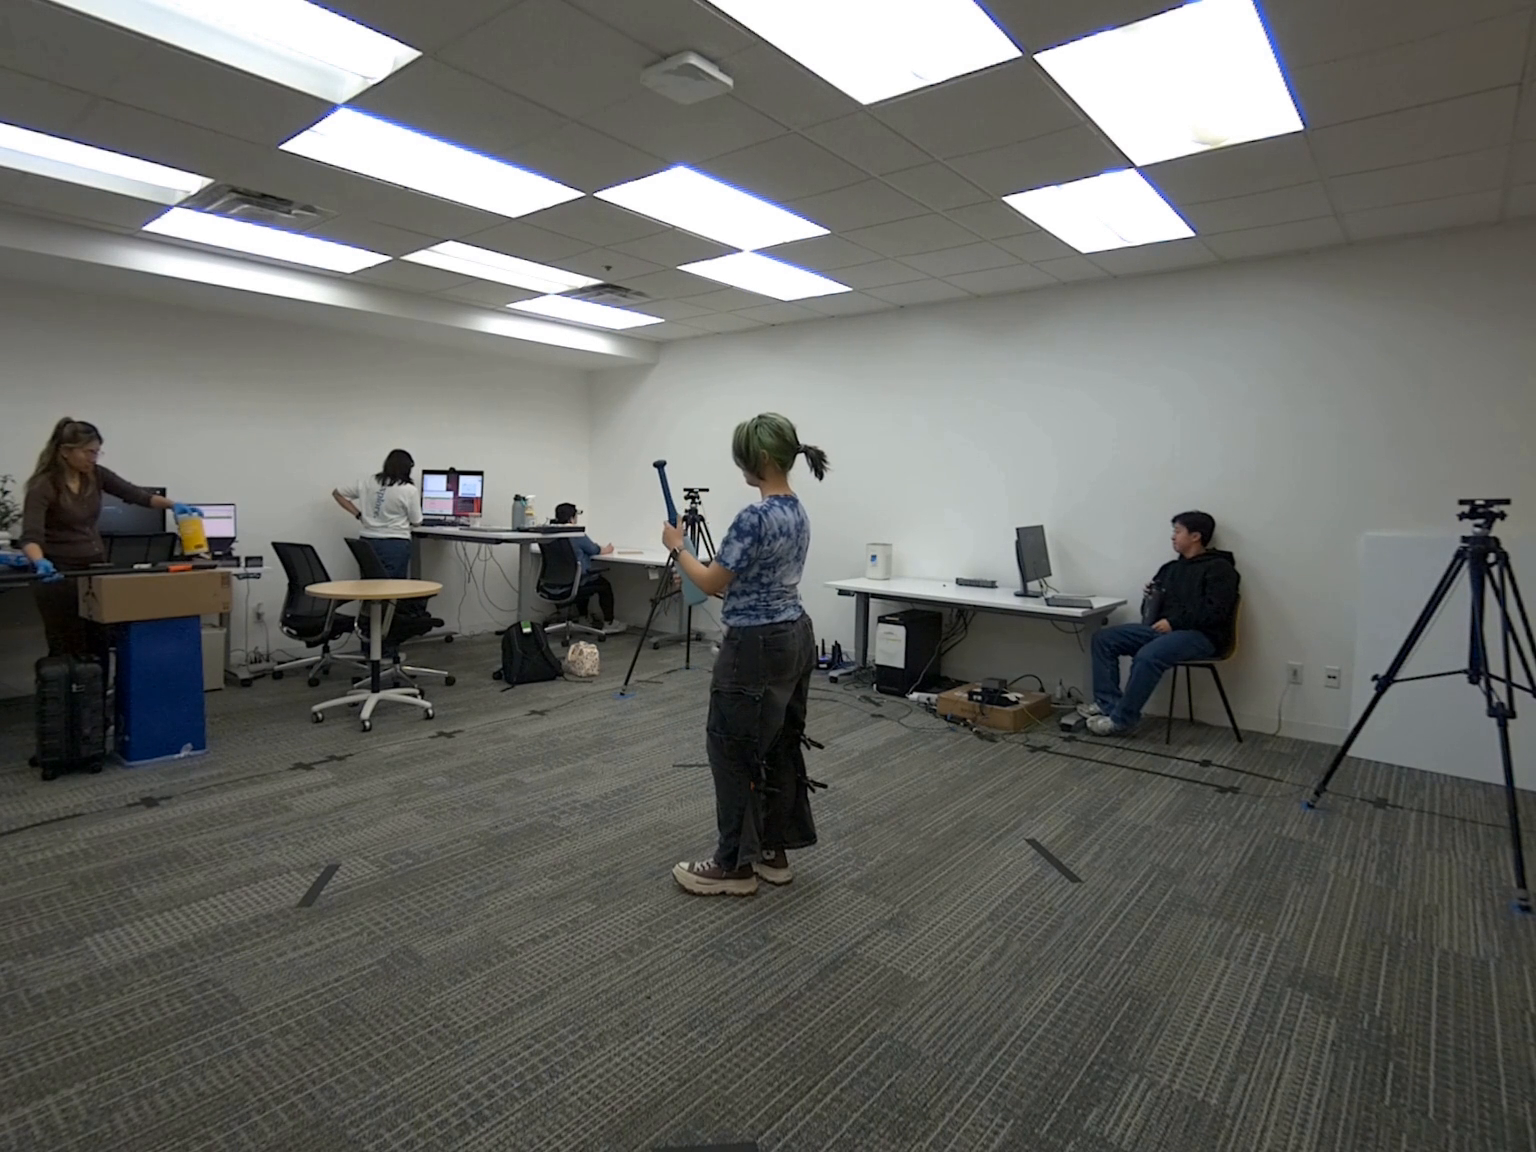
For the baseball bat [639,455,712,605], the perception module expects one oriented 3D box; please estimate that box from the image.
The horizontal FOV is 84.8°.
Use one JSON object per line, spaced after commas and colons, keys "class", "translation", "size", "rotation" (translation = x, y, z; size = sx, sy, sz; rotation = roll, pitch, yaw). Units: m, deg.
{"class": "baseball bat", "translation": [-0.339, -0.170, 3.094], "size": [0.089, 0.544, 0.089], "rotation": [-19, -2, -2]}
